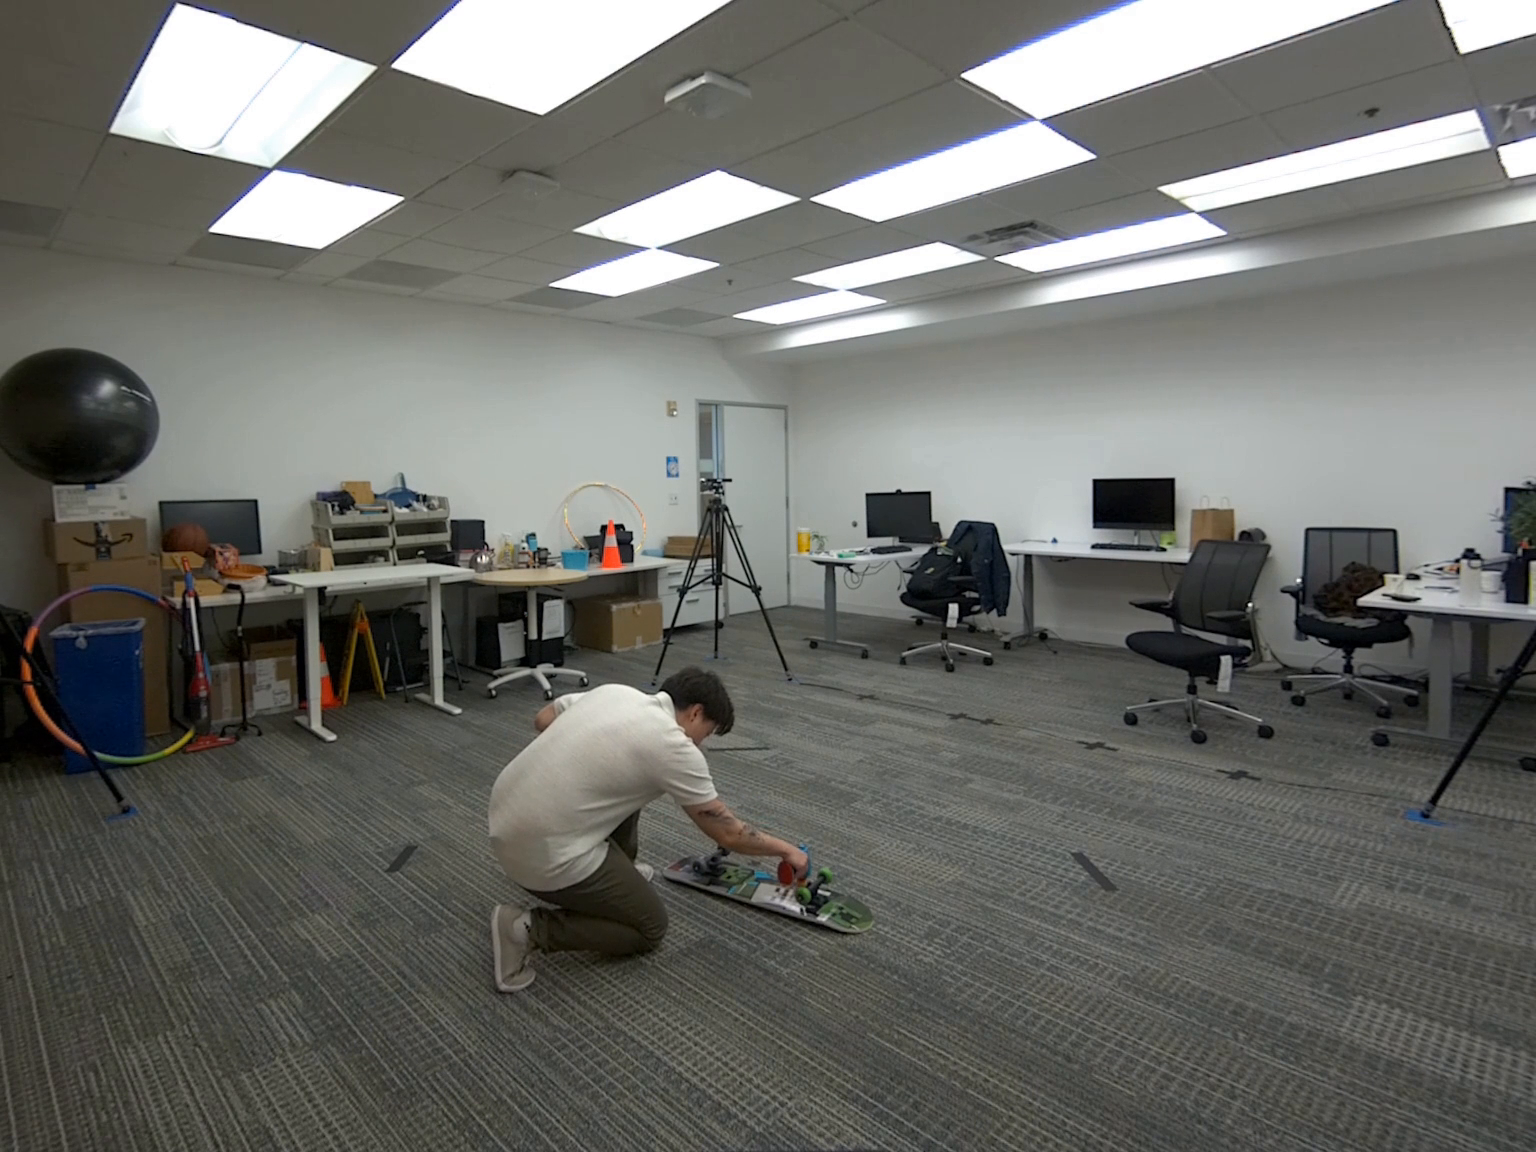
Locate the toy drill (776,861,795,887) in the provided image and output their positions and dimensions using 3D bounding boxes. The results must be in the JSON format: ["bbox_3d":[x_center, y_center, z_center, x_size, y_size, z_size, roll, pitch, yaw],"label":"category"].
[{"bbox_3d":[0.095,0.943,2.708,0.063,0.168,0.143,8,12,27],"label":"toy drill"}]
